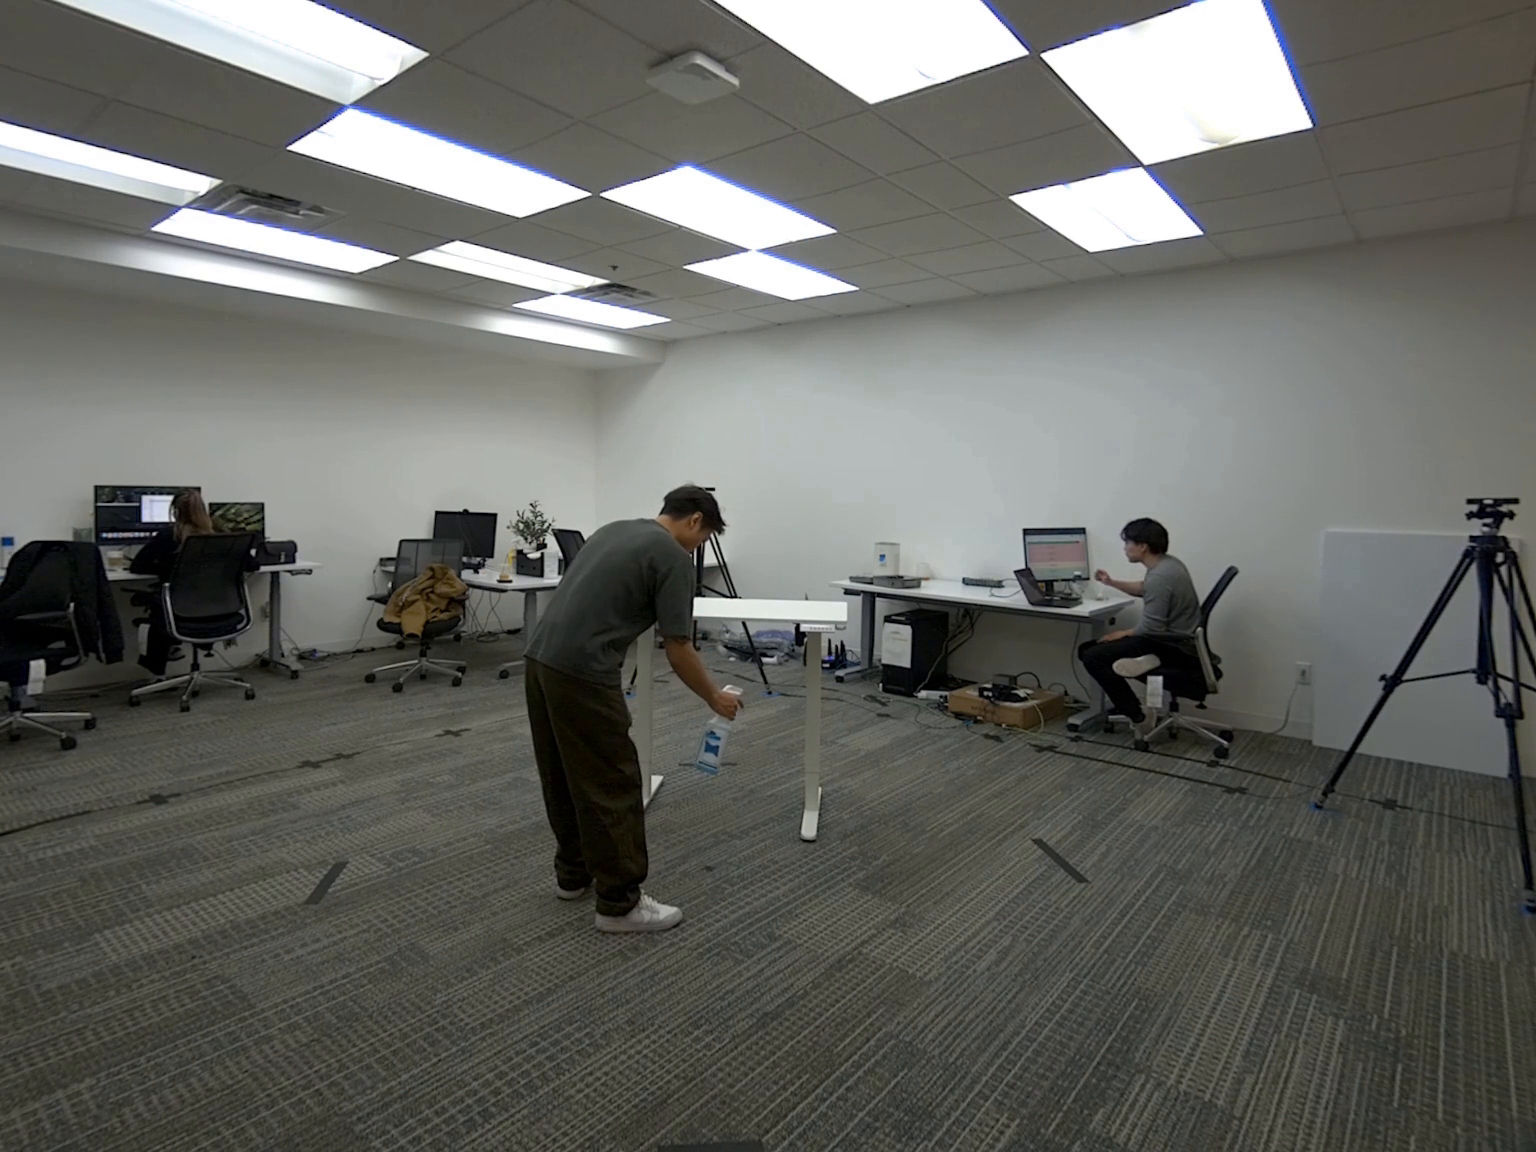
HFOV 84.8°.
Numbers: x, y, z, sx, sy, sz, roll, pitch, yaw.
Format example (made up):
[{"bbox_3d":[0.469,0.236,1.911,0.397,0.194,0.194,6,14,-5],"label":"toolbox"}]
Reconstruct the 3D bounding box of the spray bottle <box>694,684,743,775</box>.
[{"bbox_3d":[-0.179,0.517,2.849,0.088,0.299,0.088,22,-13,-19],"label":"spray bottle"}]
